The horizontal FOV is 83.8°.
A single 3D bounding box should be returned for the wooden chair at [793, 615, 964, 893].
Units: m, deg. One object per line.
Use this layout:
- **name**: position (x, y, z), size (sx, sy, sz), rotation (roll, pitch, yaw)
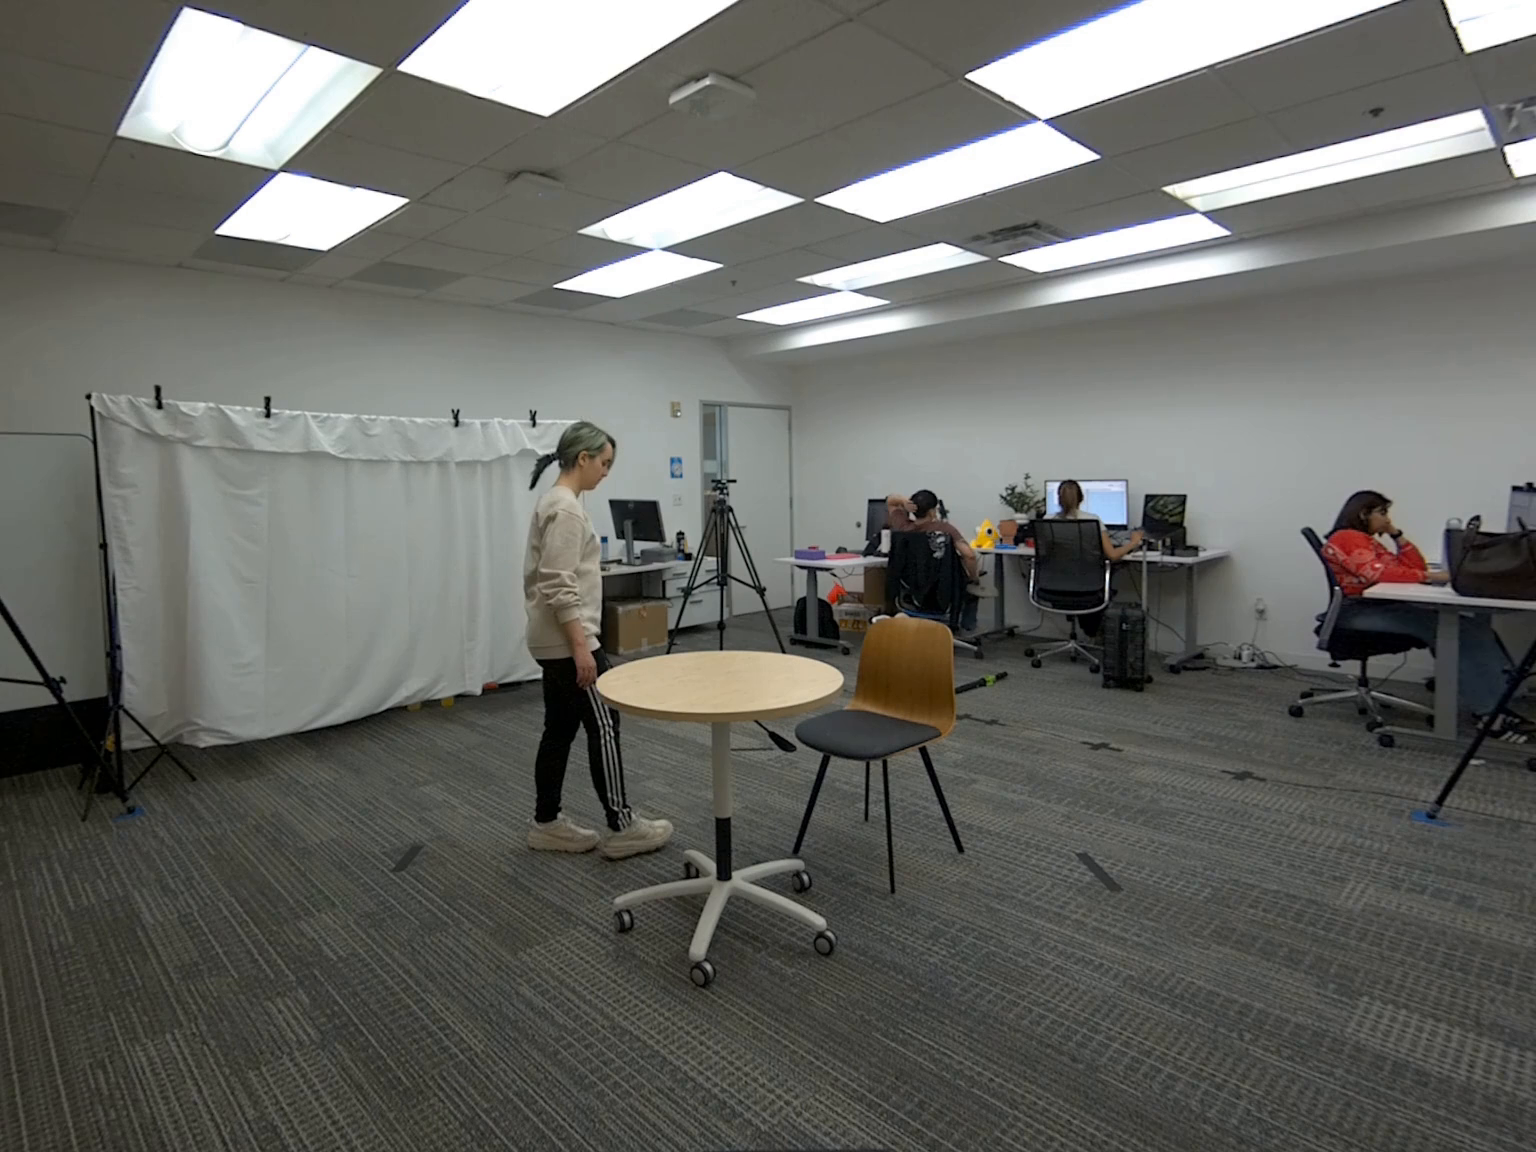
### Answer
- **wooden chair**: position (0.396, 0.602, 3.135), size (0.493, 0.876, 0.508), rotation (3, 2, 45)
